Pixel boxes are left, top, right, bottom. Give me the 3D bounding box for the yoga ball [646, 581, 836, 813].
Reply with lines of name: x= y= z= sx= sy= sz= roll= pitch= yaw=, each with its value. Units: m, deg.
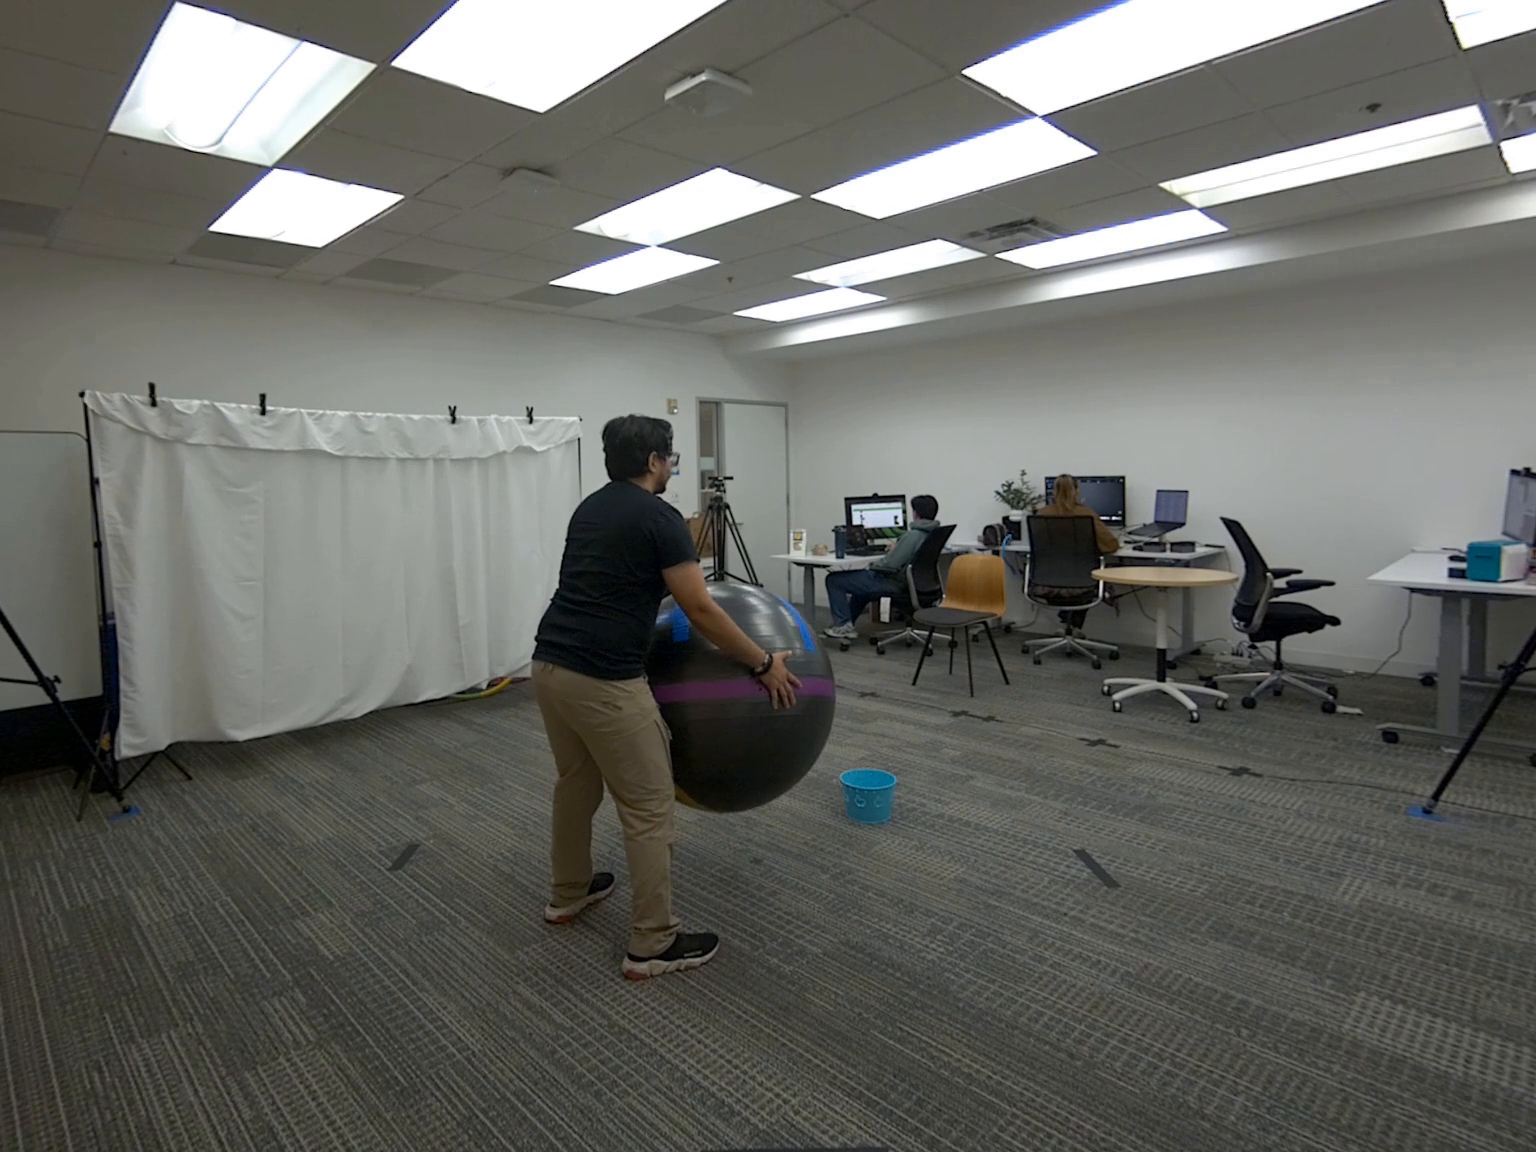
yoga ball: x=-0.151 y=0.396 z=2.895 sx=0.757 sy=0.755 sz=0.762 roll=-1 pitch=5 yaw=-2
